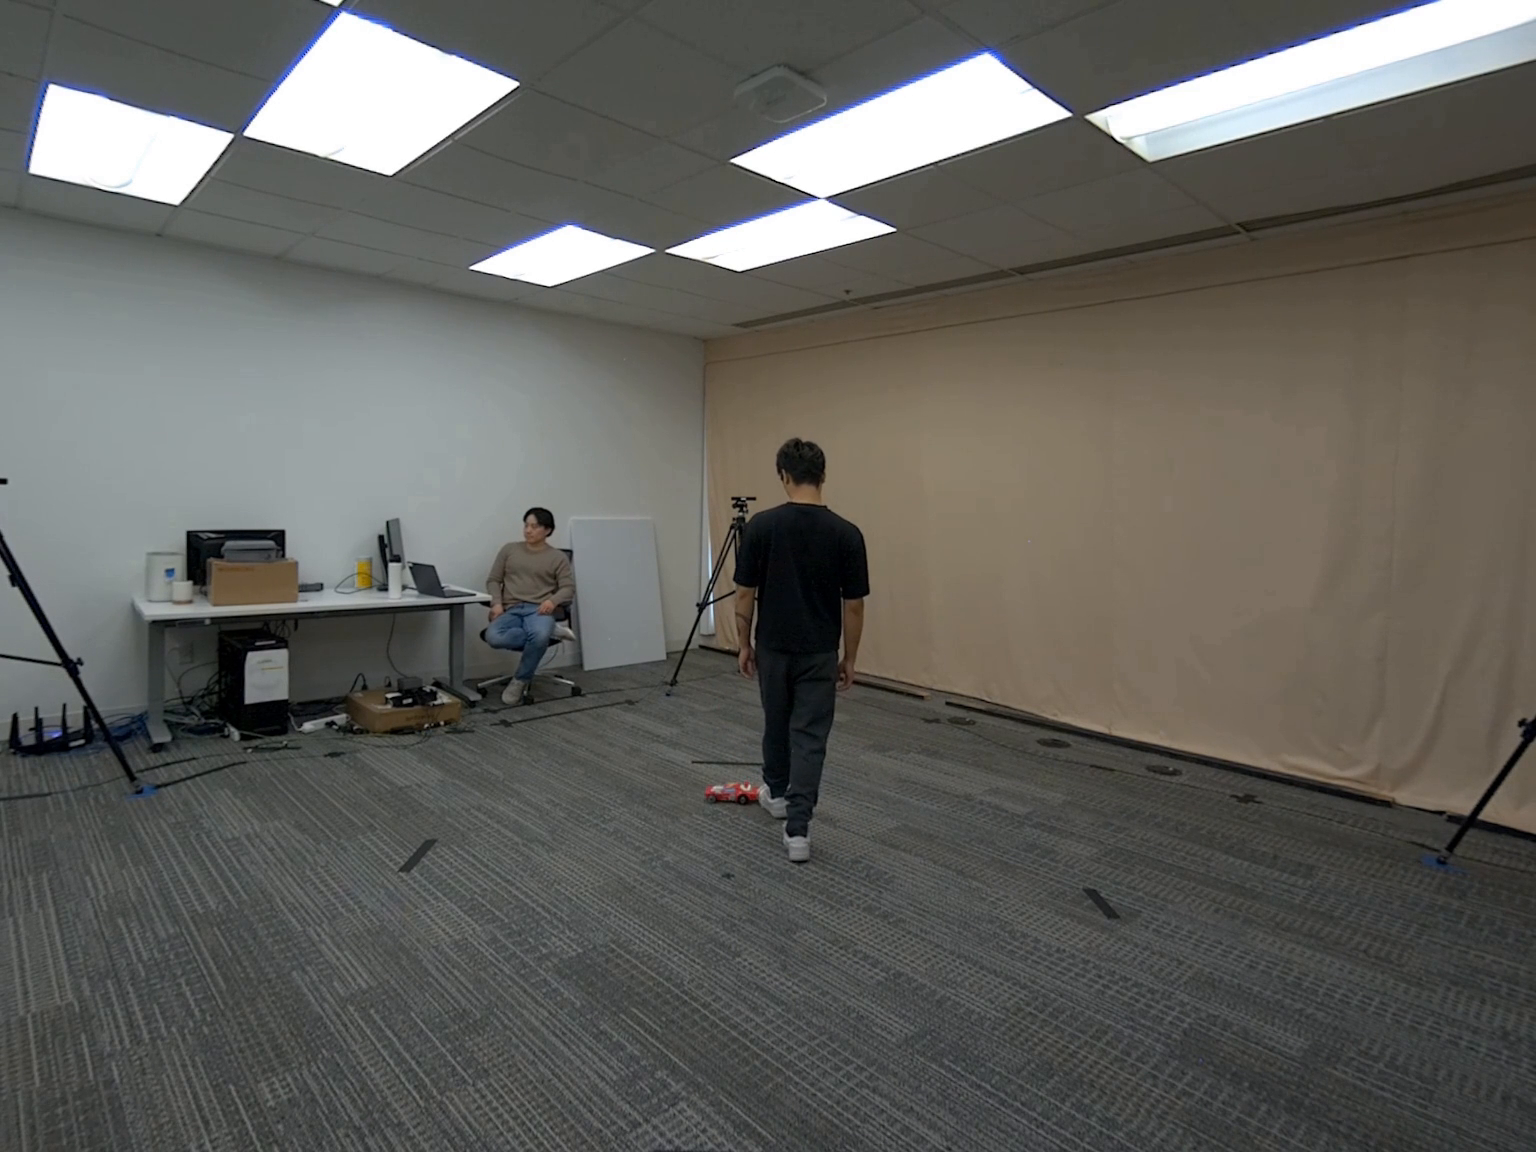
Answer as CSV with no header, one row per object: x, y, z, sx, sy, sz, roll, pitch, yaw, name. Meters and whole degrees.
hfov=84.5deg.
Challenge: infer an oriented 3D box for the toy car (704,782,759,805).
-0.172,1.003,3.897,0.255,0.083,0.130,-9,5,5,toy car
